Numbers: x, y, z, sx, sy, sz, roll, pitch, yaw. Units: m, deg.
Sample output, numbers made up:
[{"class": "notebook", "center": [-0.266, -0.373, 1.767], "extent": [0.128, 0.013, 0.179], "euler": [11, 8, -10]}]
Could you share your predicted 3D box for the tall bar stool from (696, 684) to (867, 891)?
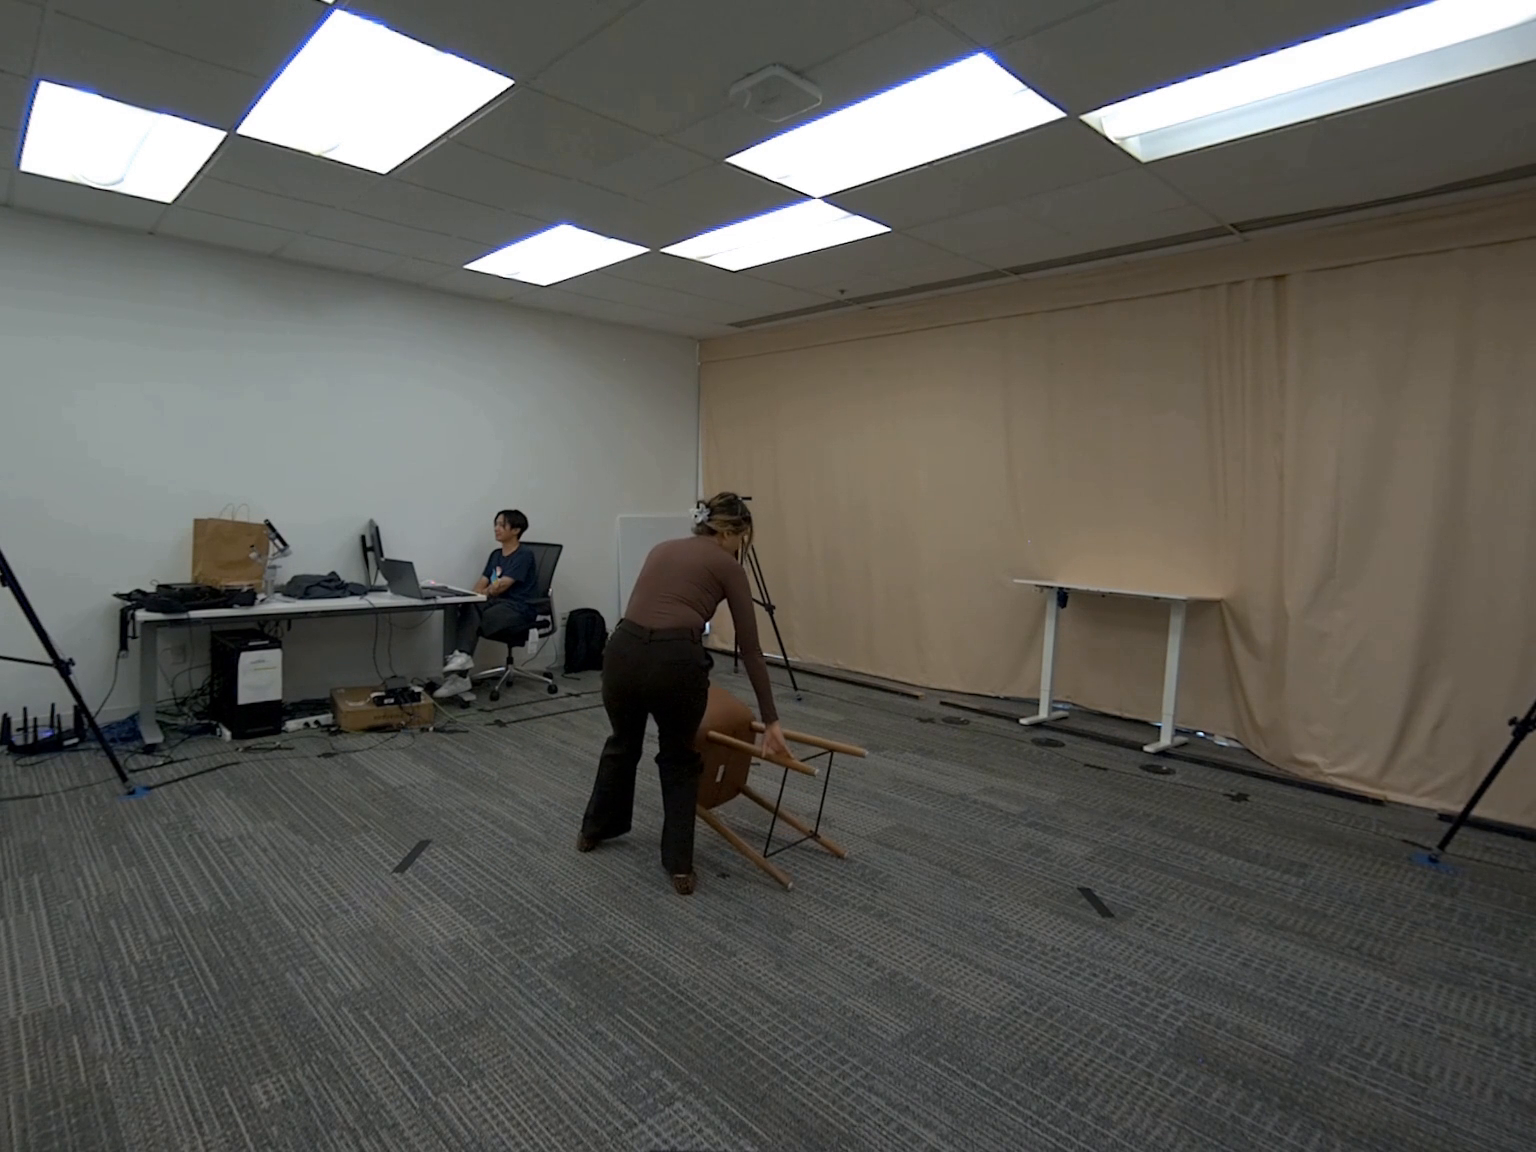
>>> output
[{"class": "tall bar stool", "center": [-0.105, 0.767, 3.372], "extent": [0.915, 0.465, 0.446], "euler": [20, 13, 35]}]
